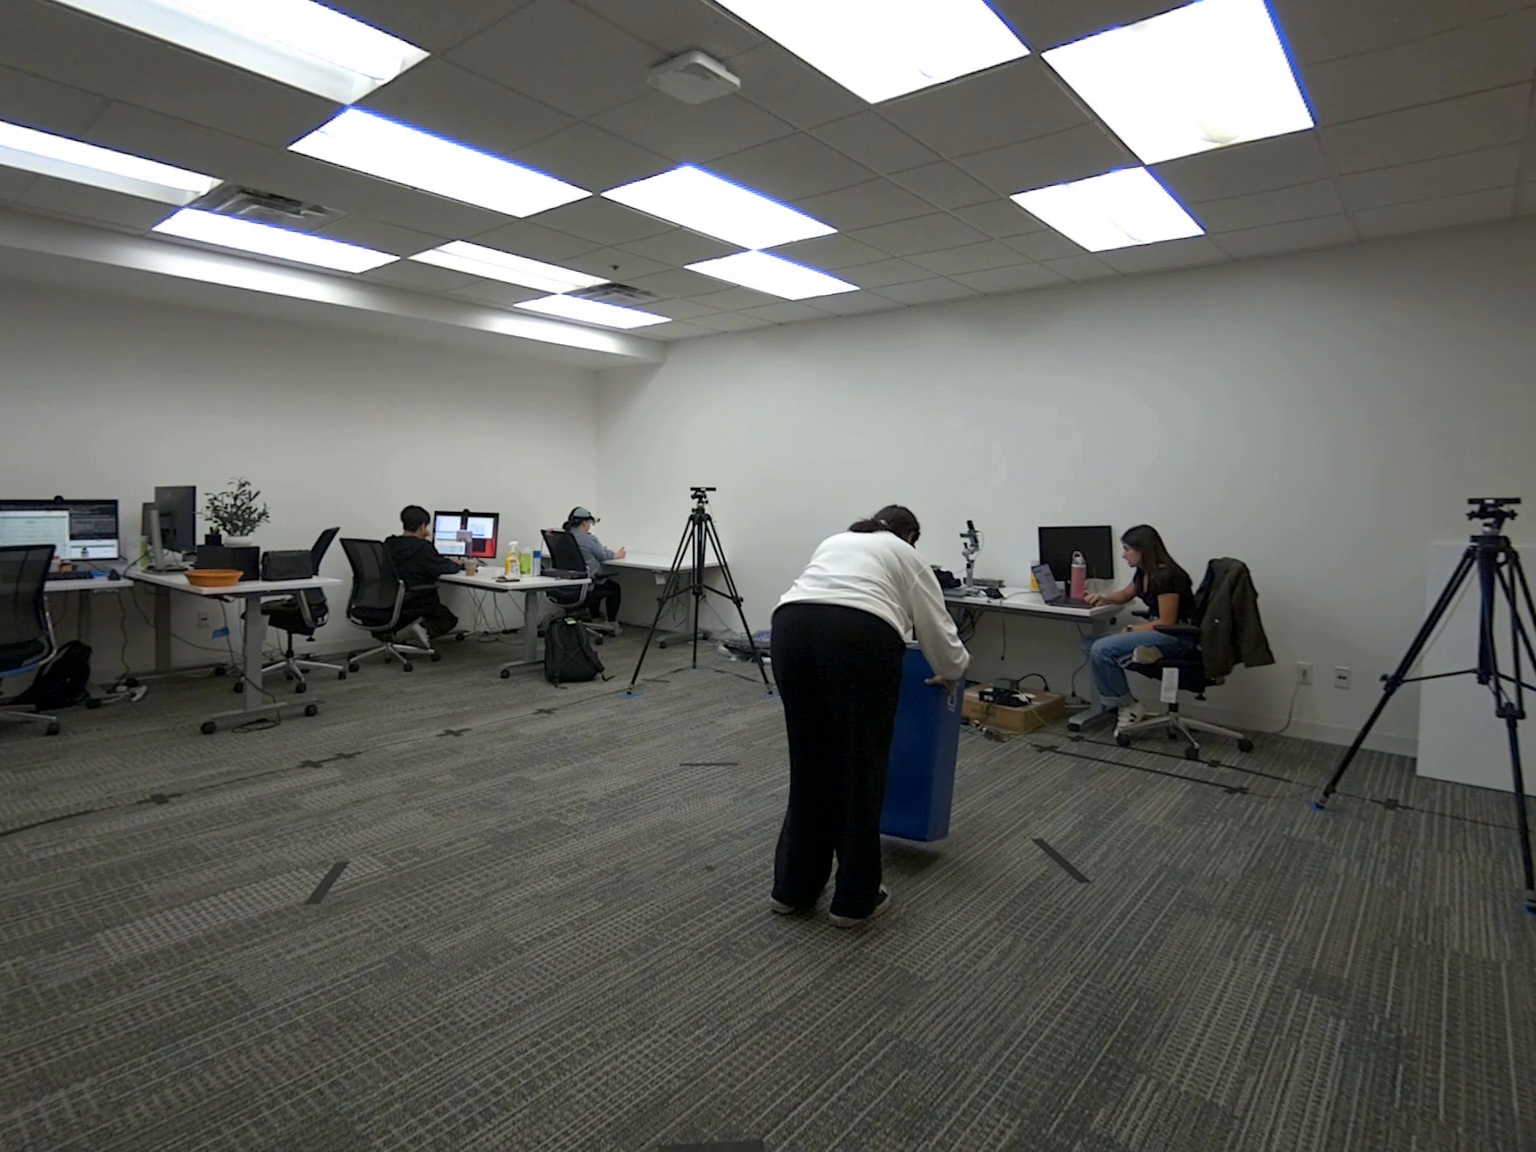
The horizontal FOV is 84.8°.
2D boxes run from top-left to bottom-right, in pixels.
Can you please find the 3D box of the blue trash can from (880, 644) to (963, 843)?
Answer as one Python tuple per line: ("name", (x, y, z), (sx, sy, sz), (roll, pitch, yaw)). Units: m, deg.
("blue trash can", (0.535, 0.626, 3.327), (0.389, 0.719, 0.361), (1, -10, 29))
